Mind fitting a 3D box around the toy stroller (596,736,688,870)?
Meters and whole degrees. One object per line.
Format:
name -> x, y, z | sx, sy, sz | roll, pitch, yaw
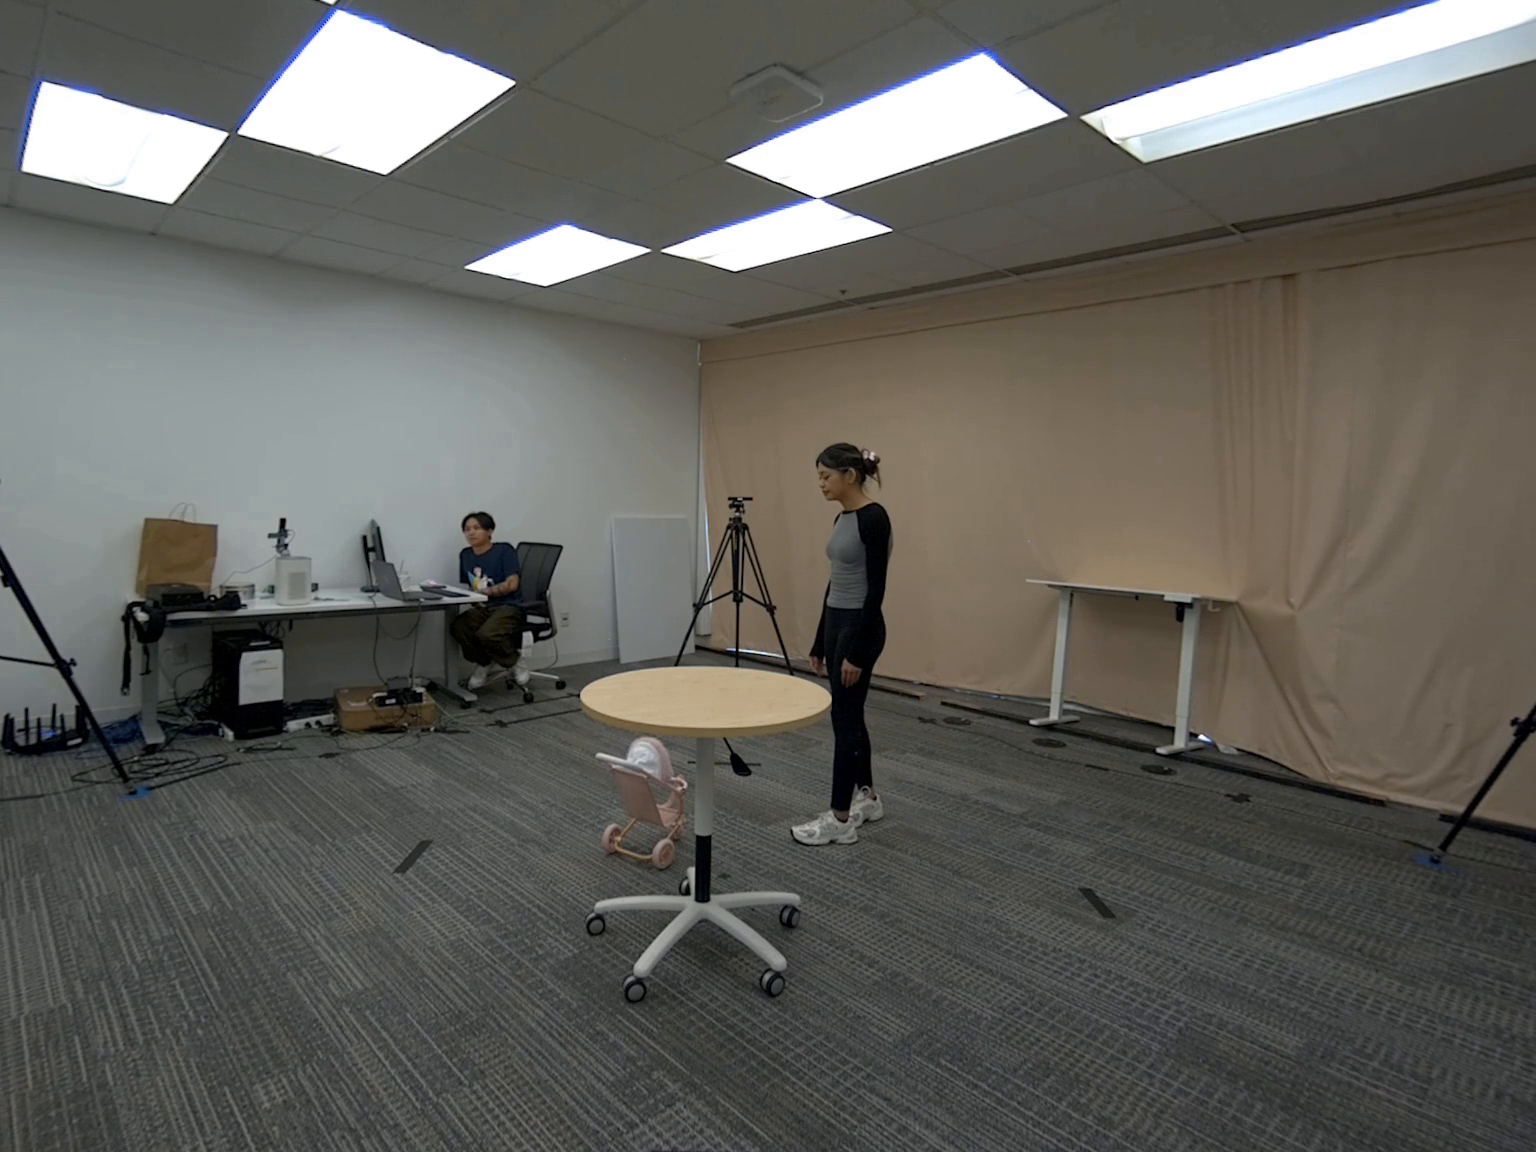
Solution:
toy stroller -> -0.465, 0.859, 3.265 | 0.288, 0.528, 0.337 | 5, 20, 35
